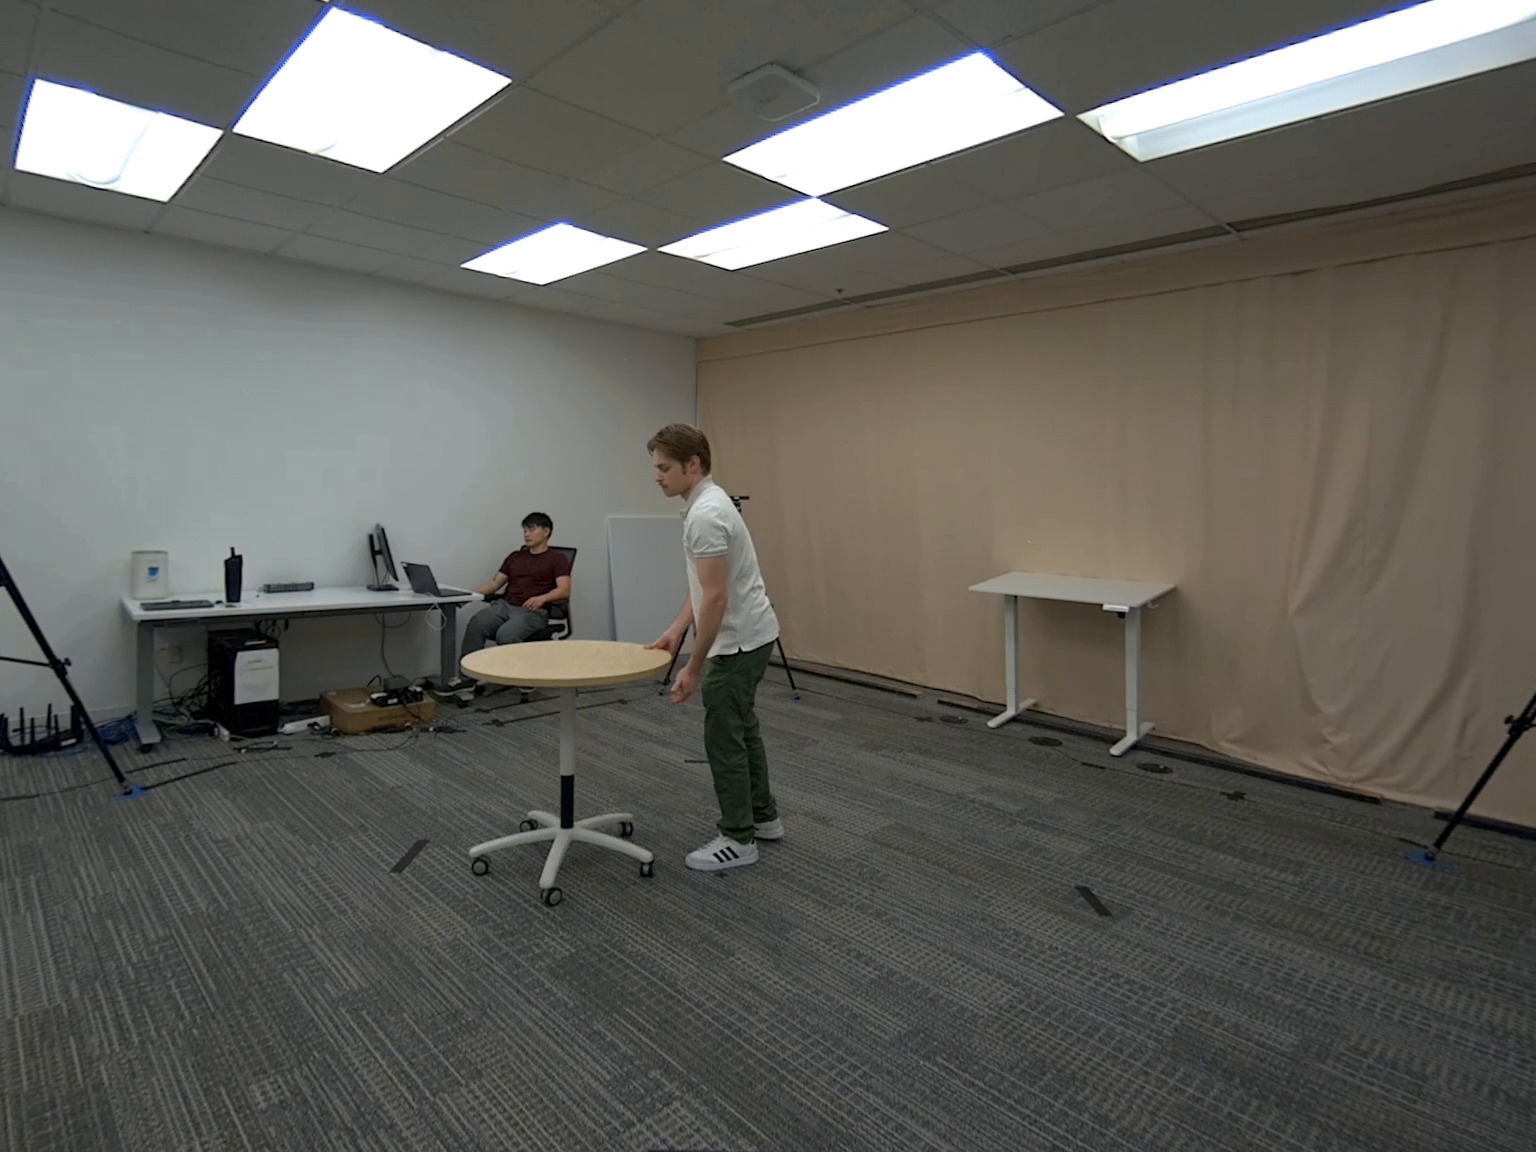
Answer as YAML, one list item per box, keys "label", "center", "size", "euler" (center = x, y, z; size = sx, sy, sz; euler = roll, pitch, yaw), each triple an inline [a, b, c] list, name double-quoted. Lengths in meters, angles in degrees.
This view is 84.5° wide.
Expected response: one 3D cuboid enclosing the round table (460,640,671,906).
- label: "round table"
  center: [-0.758, 0.698, 3.148]
  size: [0.763, 0.792, 0.766]
  euler: [1, 4, -1]
